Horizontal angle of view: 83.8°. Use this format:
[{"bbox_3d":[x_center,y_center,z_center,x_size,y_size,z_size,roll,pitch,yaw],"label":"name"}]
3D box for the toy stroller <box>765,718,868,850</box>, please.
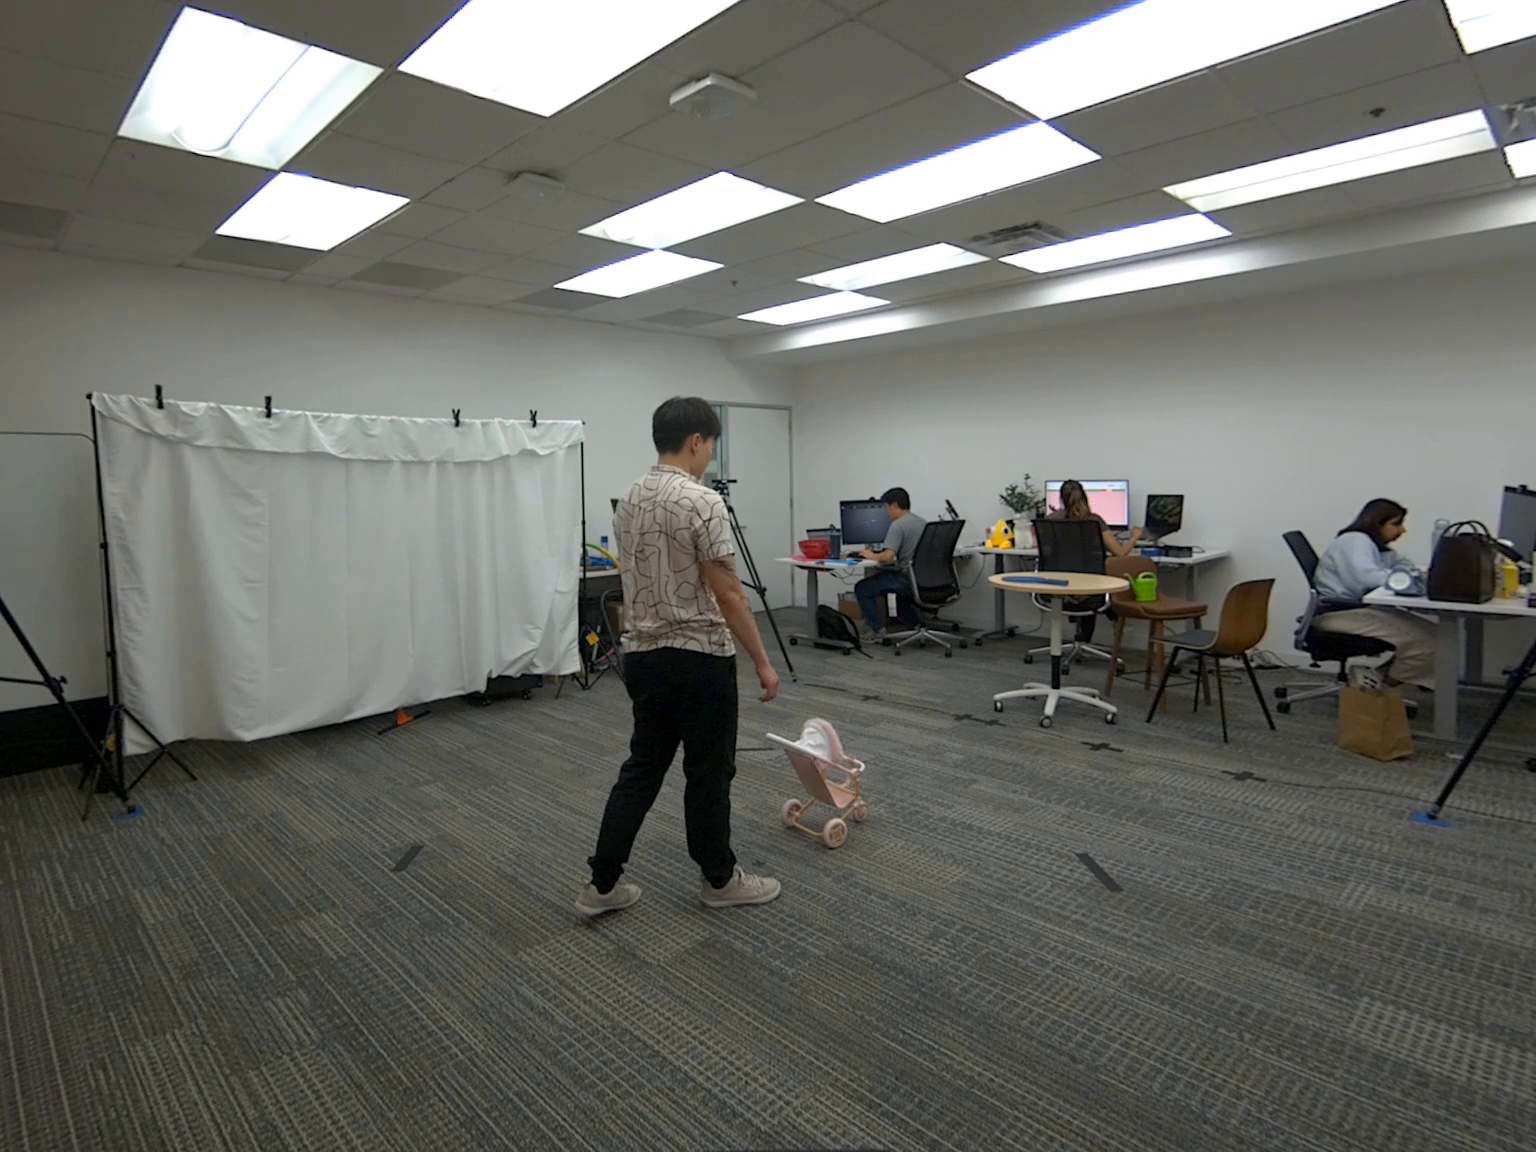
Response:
[{"bbox_3d":[0.222,0.790,3.360,0.336,0.527,0.289,-23,15,-30],"label":"toy stroller"}]
